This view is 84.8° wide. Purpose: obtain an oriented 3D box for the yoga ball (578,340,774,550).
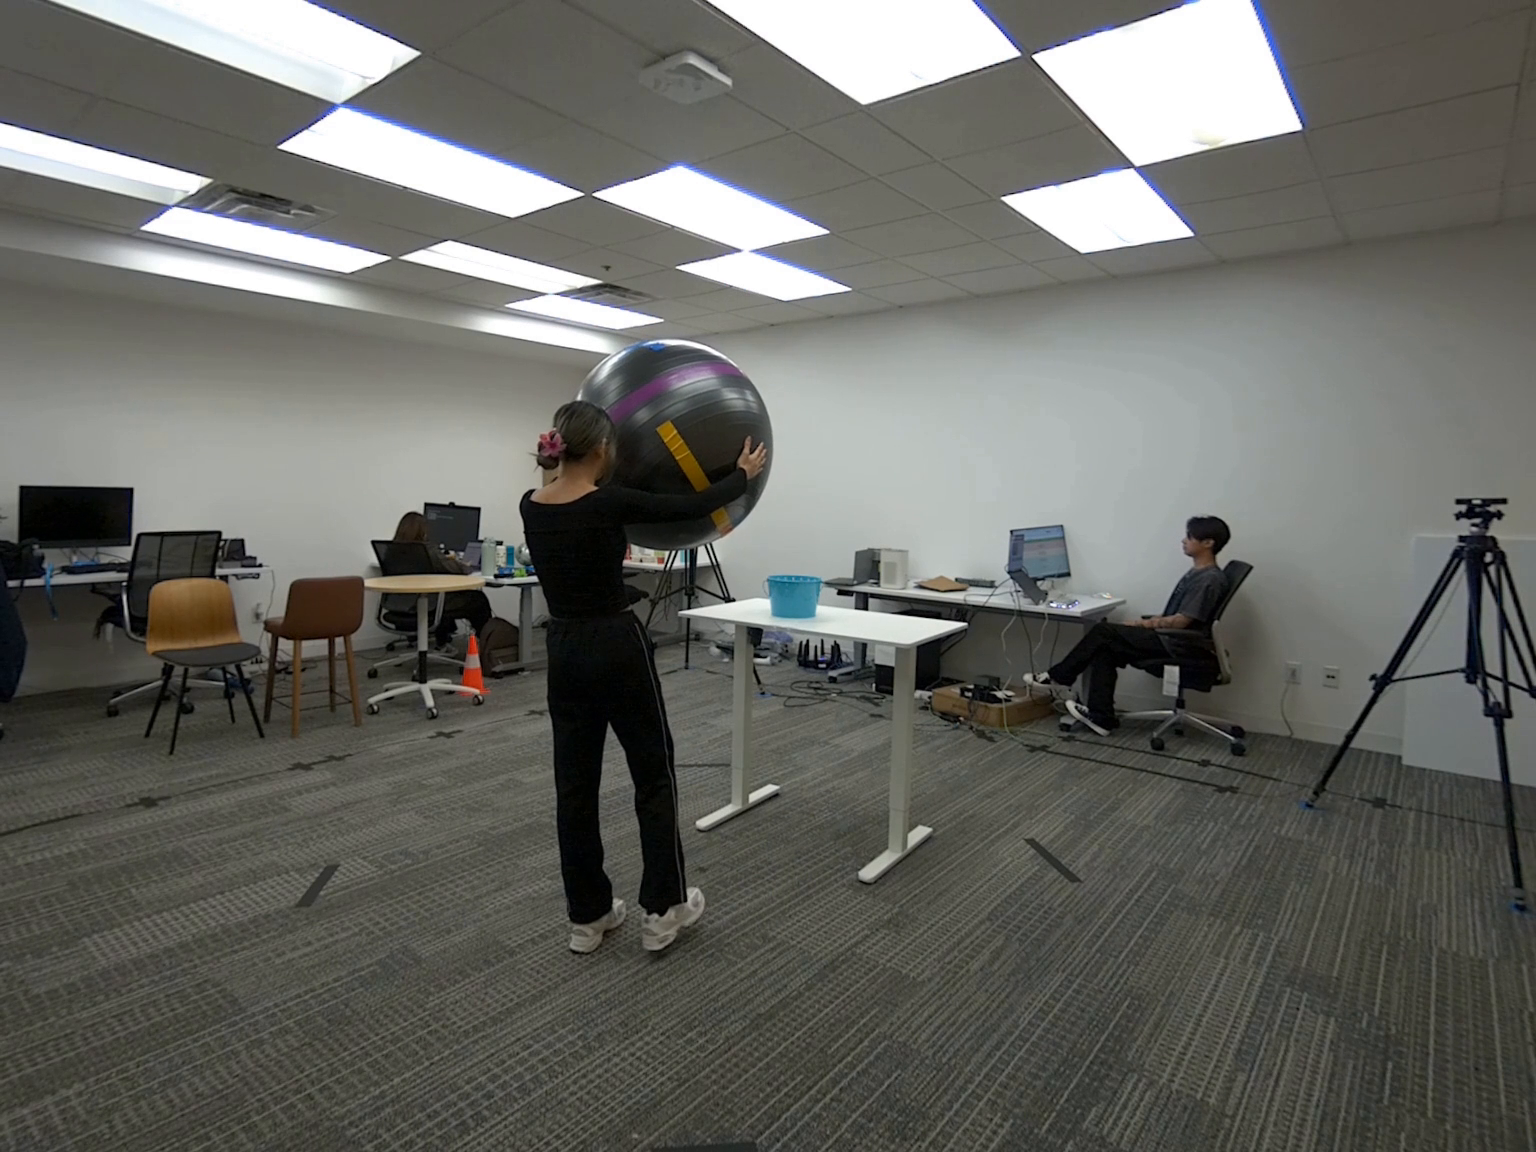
[{"bbox_3d":[-0.365,-0.466,3.069,0.757,0.756,0.761,1,4,-2],"label":"yoga ball"}]
